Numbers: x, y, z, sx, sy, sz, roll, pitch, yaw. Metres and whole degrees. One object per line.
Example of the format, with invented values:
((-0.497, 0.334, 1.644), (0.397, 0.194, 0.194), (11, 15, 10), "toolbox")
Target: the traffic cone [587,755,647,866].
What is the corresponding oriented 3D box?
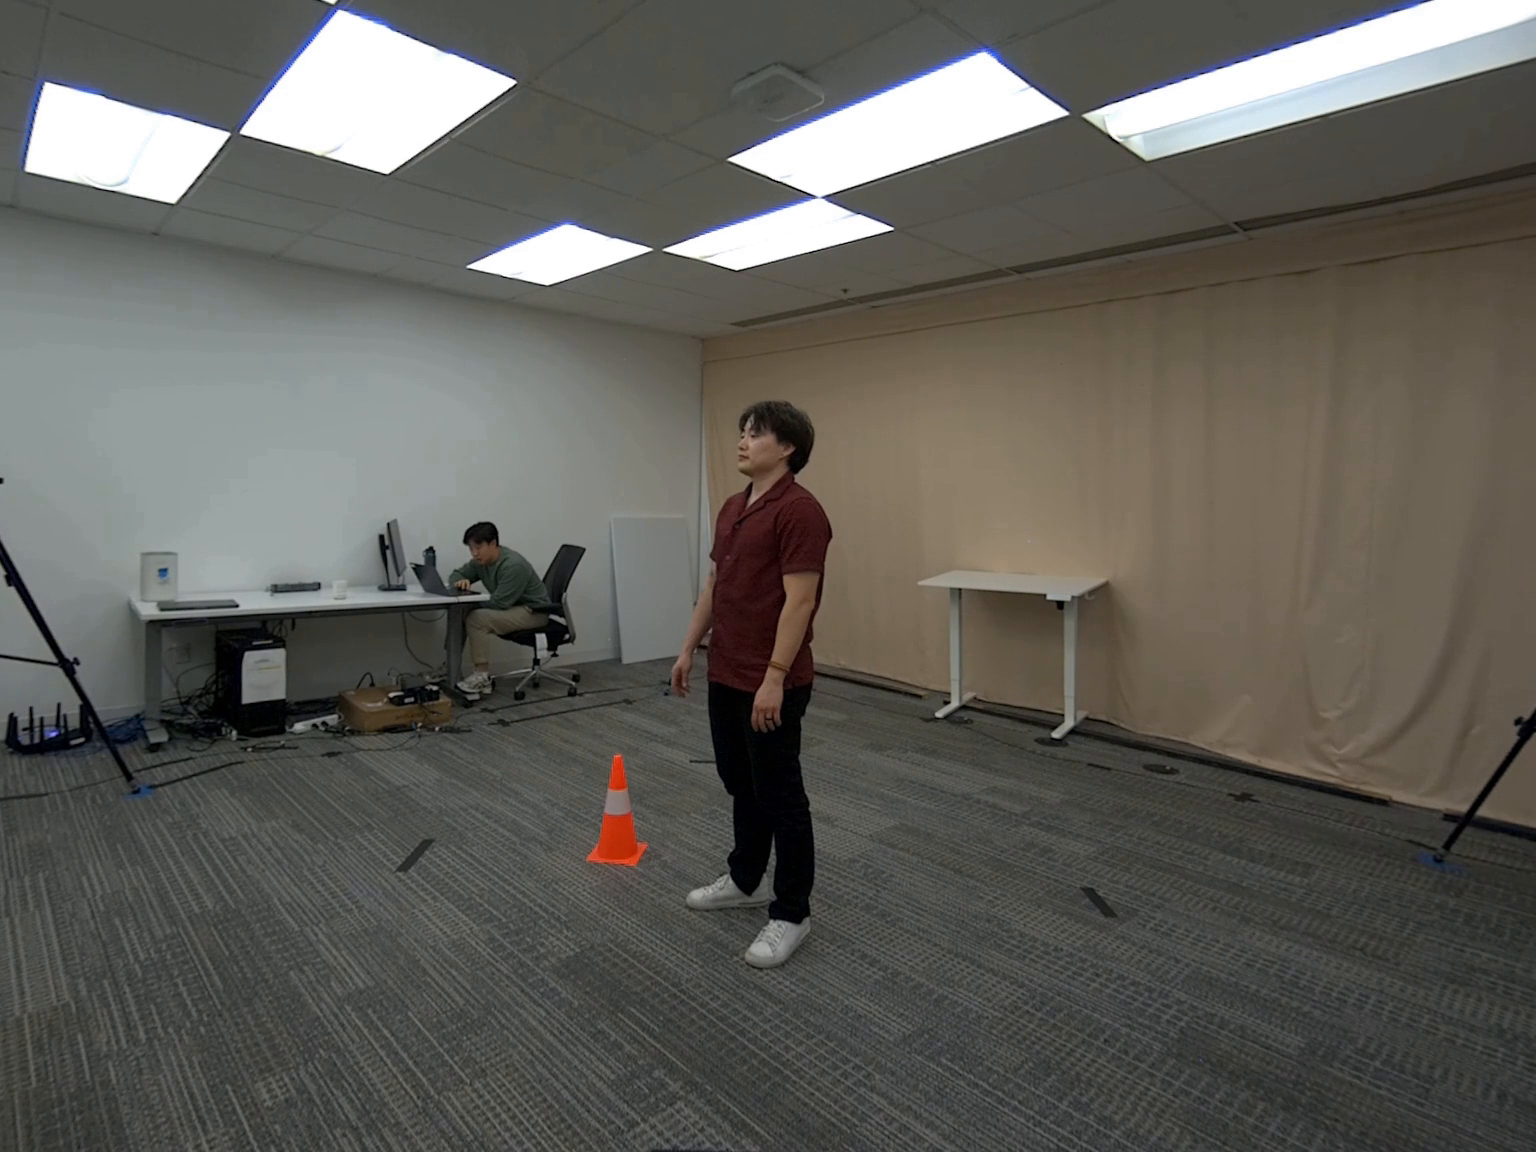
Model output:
((-0.600, 0.896, 3.271), (0.207, 0.383, 0.202), (1, 3, 10), "traffic cone")
